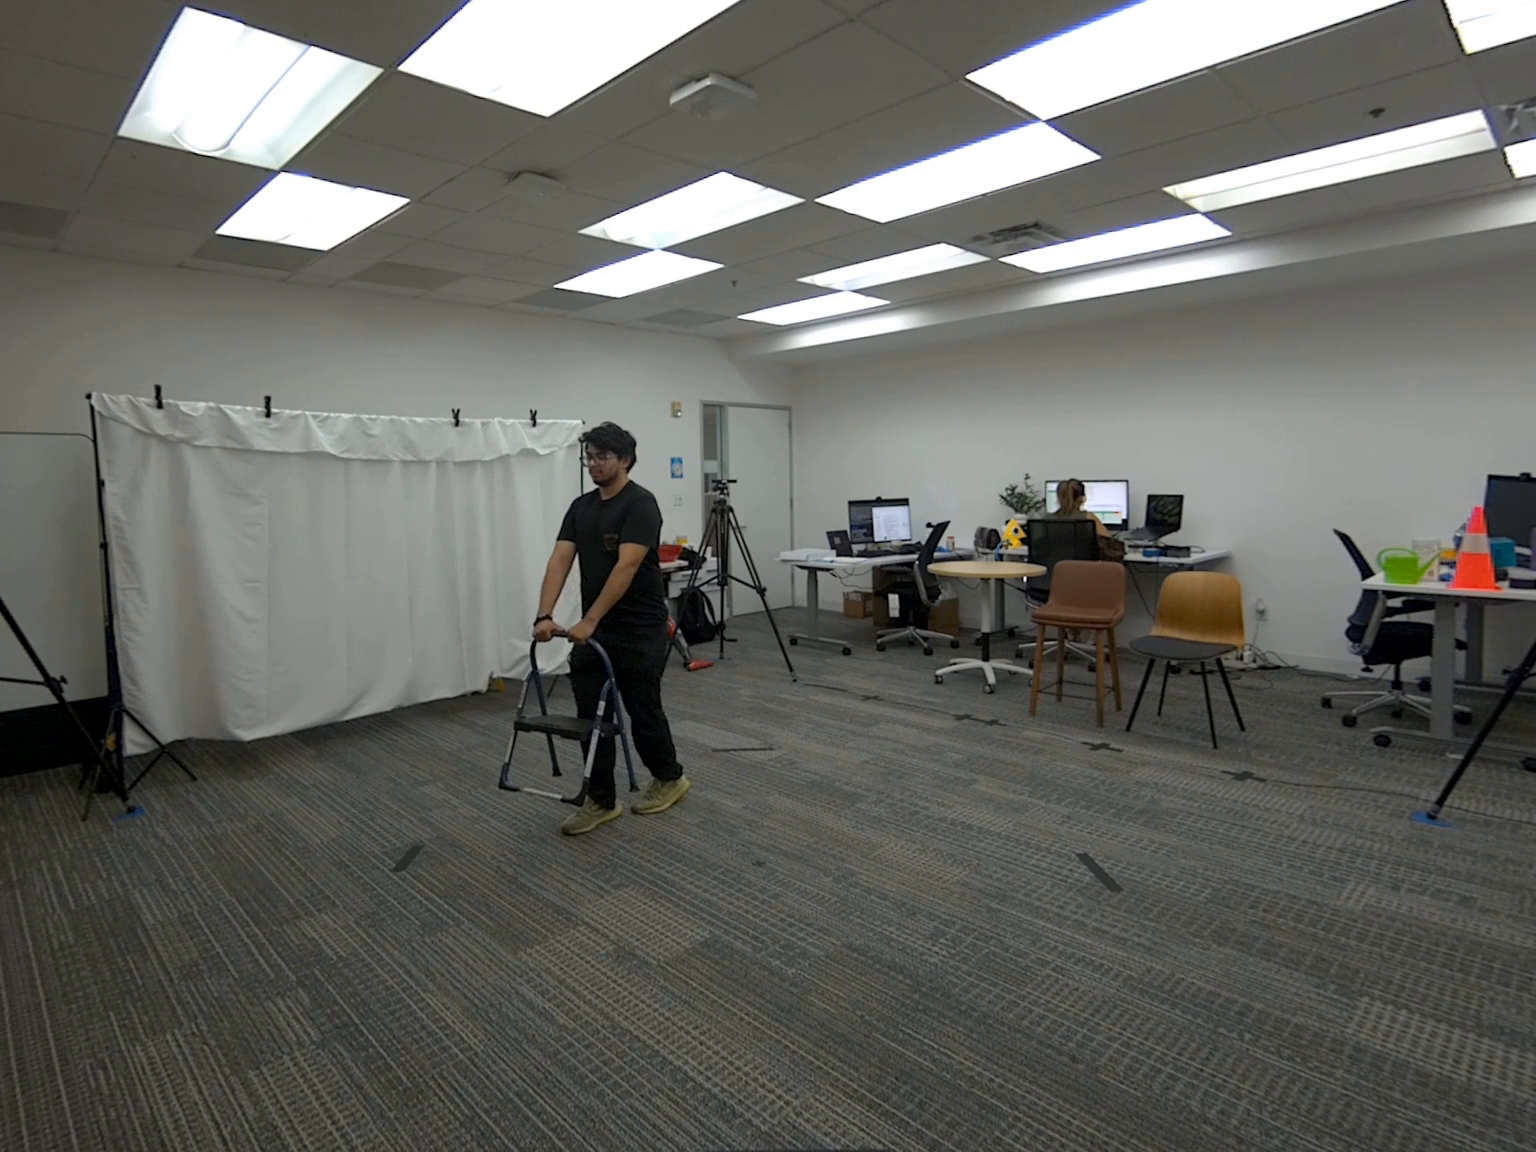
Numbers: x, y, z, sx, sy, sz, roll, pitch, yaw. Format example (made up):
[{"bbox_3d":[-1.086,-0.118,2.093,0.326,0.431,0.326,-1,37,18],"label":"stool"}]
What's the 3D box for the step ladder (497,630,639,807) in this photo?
[{"bbox_3d":[-0.757,0.521,3.295,0.442,0.608,0.339,1,-4,30],"label":"step ladder"}]
